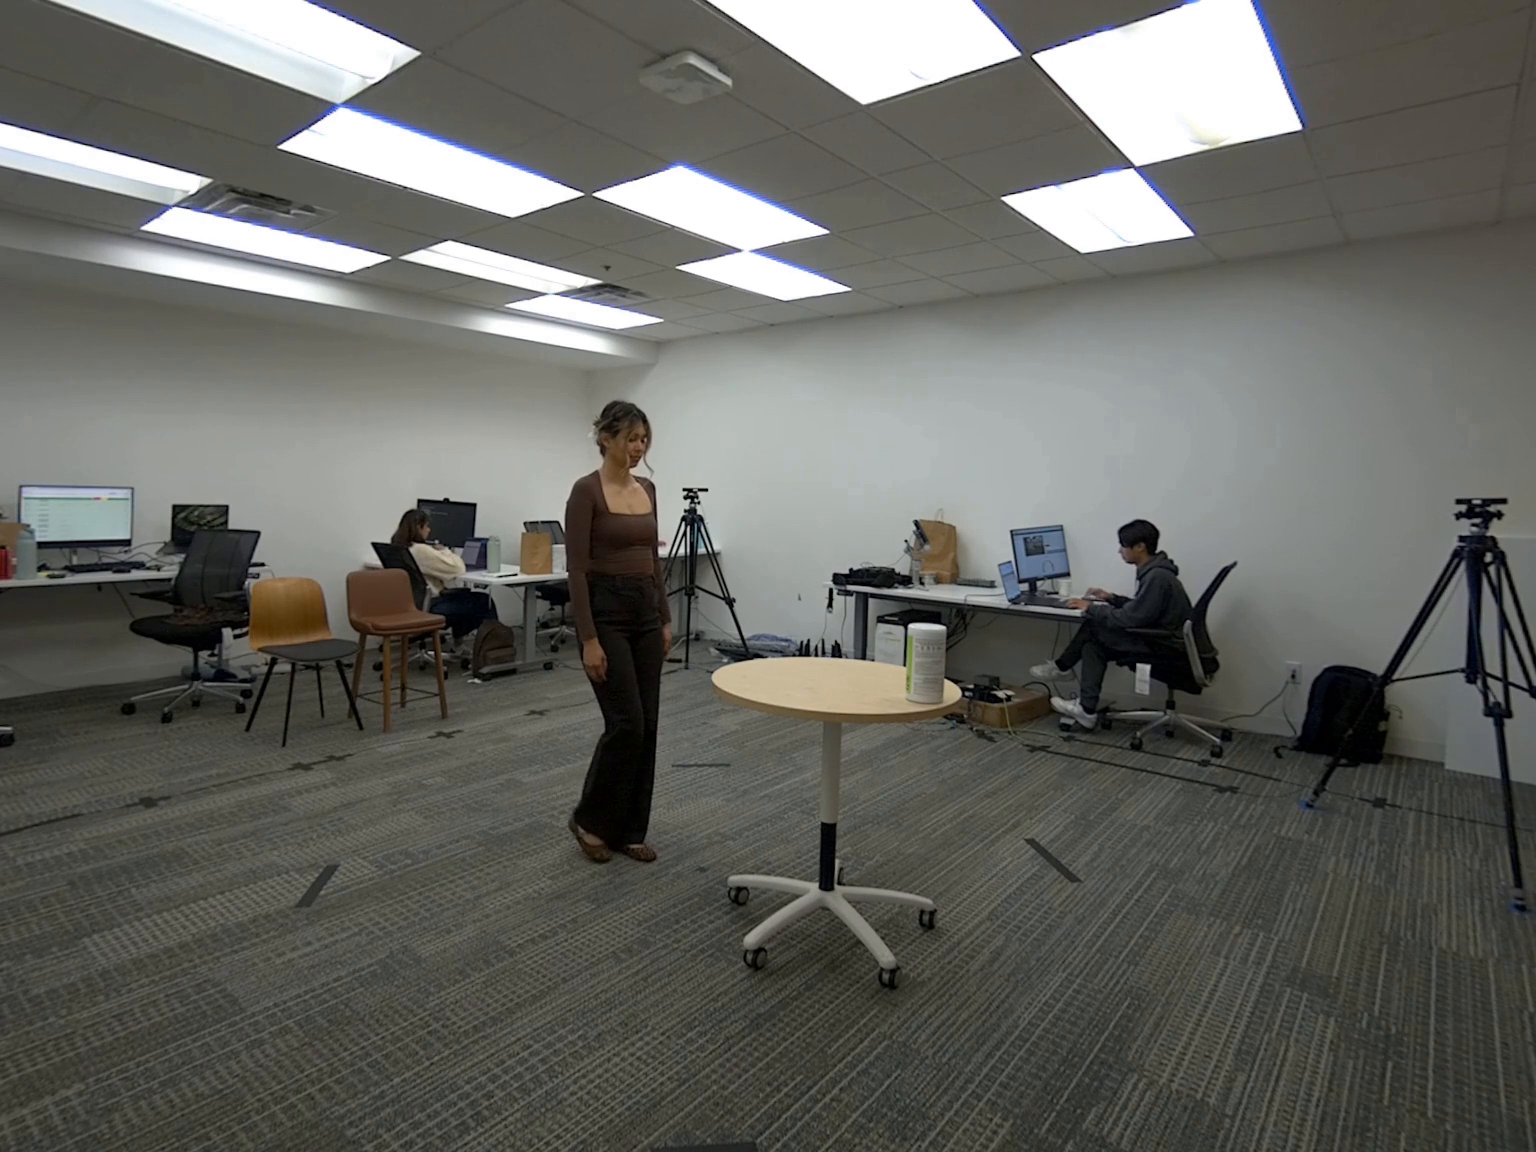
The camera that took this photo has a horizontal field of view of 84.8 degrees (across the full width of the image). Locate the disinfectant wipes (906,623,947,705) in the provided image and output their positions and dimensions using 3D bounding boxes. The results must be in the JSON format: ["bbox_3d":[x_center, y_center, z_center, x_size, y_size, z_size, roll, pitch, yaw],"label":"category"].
[{"bbox_3d":[0.455,0.251,2.442,0.117,0.217,0.118,2,4,-2],"label":"disinfectant wipes"}]
